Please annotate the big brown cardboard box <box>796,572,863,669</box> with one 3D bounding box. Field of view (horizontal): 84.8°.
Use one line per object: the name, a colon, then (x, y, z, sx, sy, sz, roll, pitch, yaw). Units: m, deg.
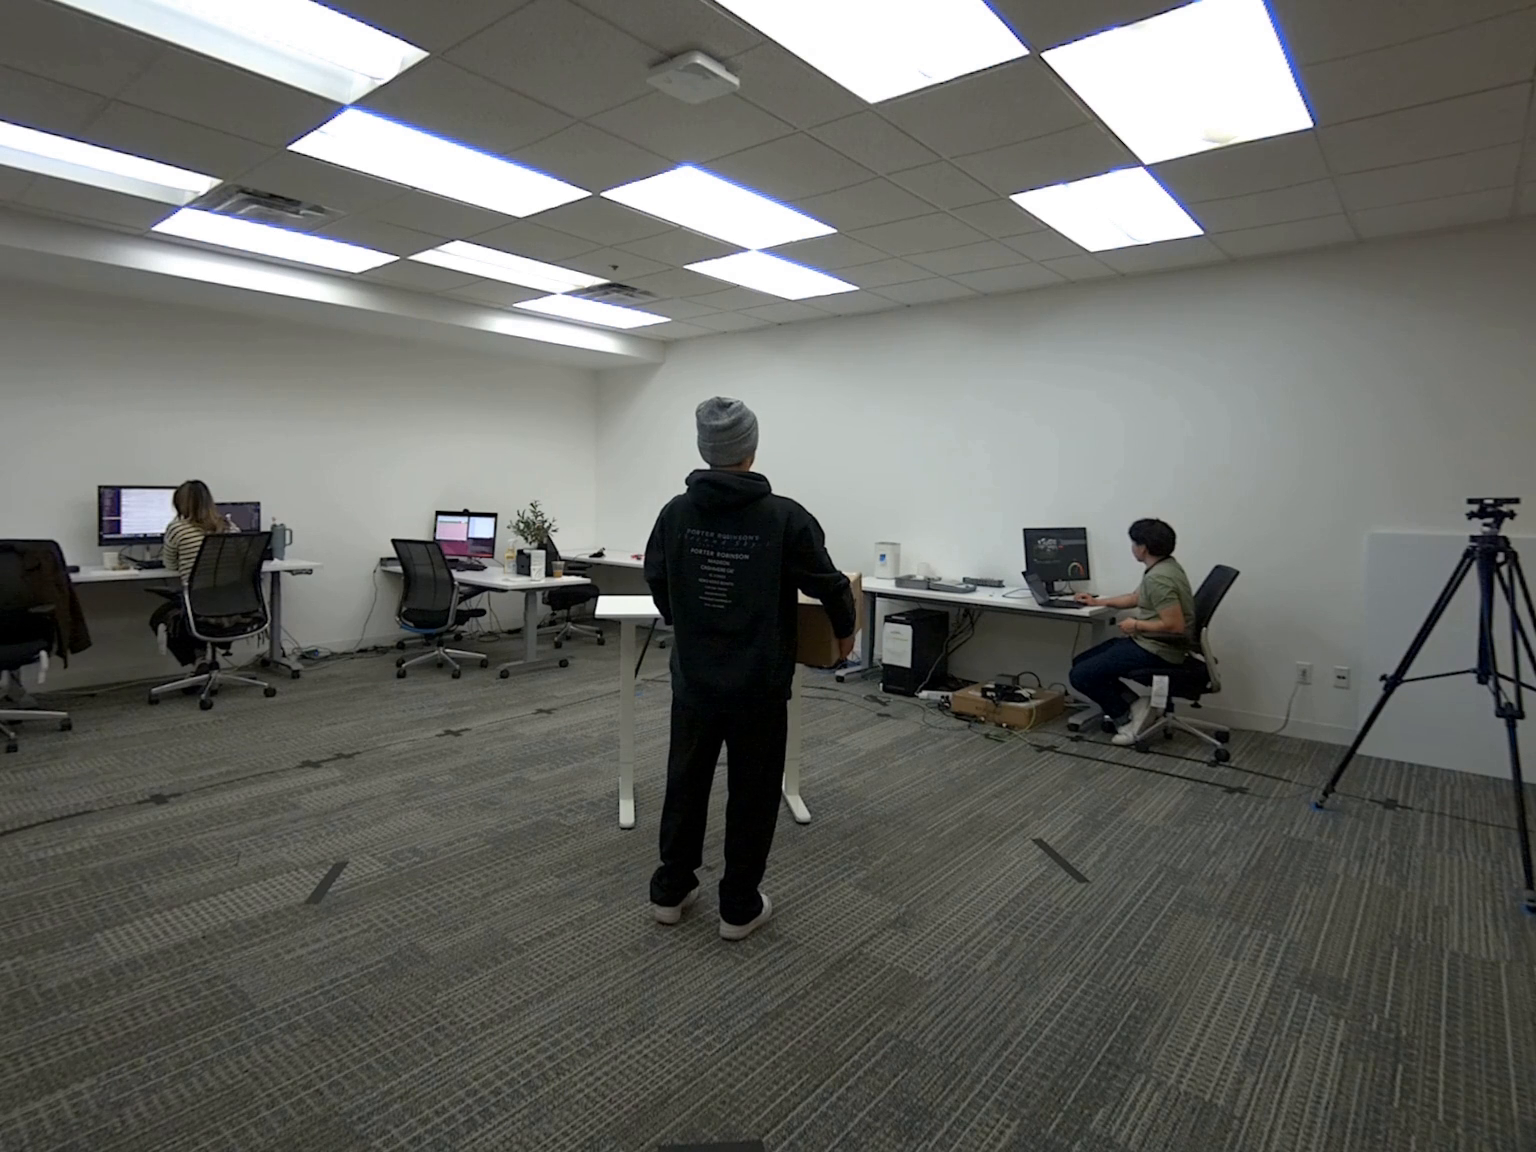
big brown cardboard box: (0.003, 0.127, 3.023, 0.602, 0.230, 0.414, 2, 15, 21)
